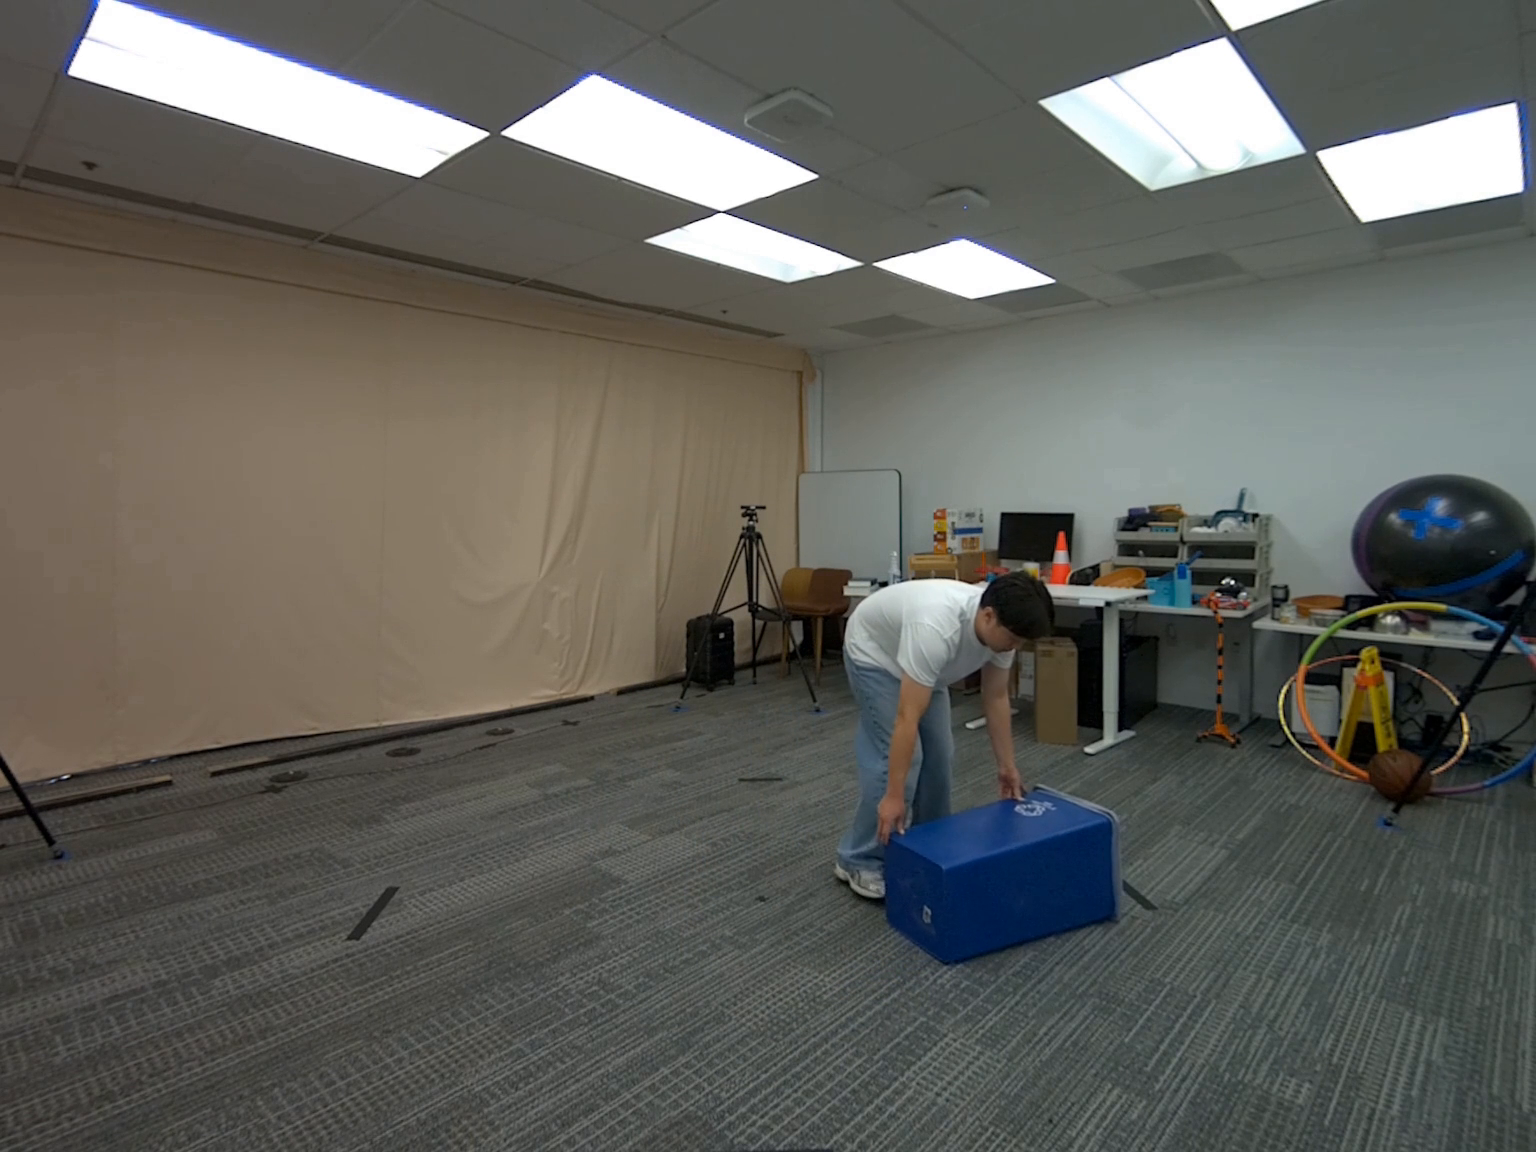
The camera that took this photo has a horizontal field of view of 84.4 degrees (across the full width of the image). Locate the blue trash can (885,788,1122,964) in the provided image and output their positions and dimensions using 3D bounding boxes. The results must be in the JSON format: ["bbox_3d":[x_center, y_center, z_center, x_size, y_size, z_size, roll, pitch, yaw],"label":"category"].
[{"bbox_3d":[0.780,0.989,2.804,0.697,0.377,0.384,-5,5,-26],"label":"blue trash can"}]
